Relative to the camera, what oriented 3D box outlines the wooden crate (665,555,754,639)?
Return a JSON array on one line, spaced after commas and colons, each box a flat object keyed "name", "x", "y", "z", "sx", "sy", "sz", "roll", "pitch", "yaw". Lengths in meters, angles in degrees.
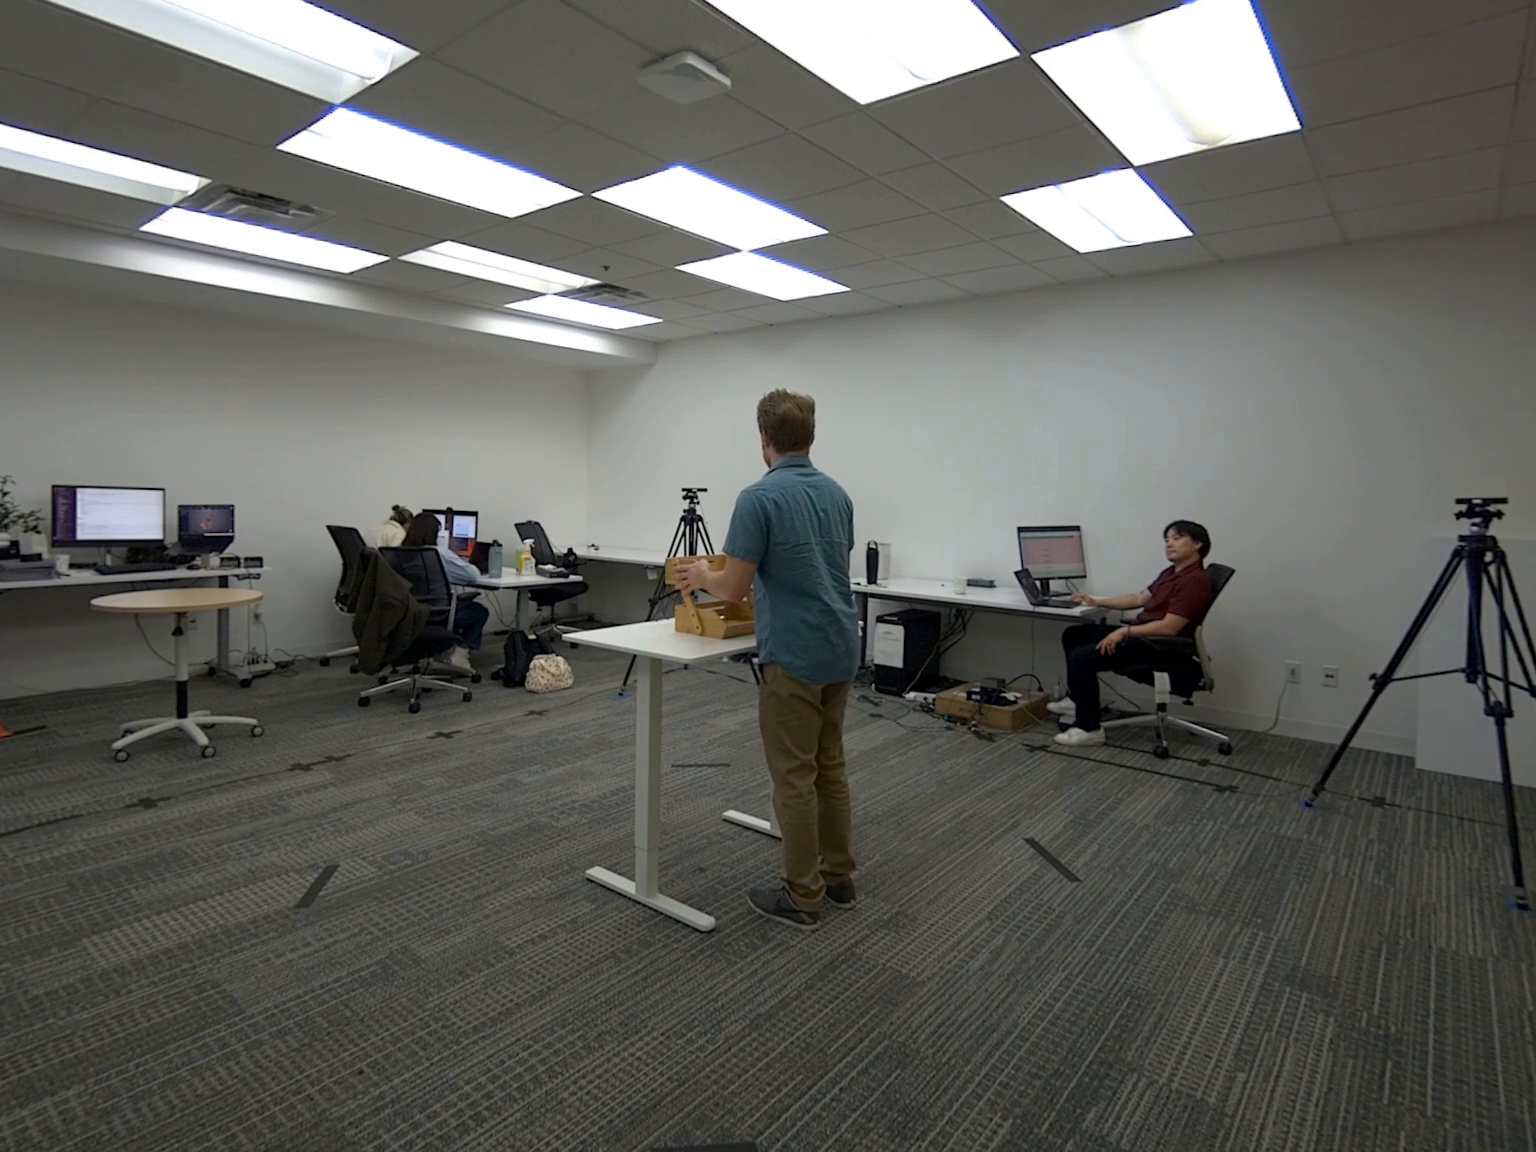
[{"name": "wooden crate", "x": -0.164, "y": 0.062, "z": 3.059, "sx": 0.312, "sy": 0.272, "sz": 0.315, "roll": 4, "pitch": 5, "yaw": 41}]
